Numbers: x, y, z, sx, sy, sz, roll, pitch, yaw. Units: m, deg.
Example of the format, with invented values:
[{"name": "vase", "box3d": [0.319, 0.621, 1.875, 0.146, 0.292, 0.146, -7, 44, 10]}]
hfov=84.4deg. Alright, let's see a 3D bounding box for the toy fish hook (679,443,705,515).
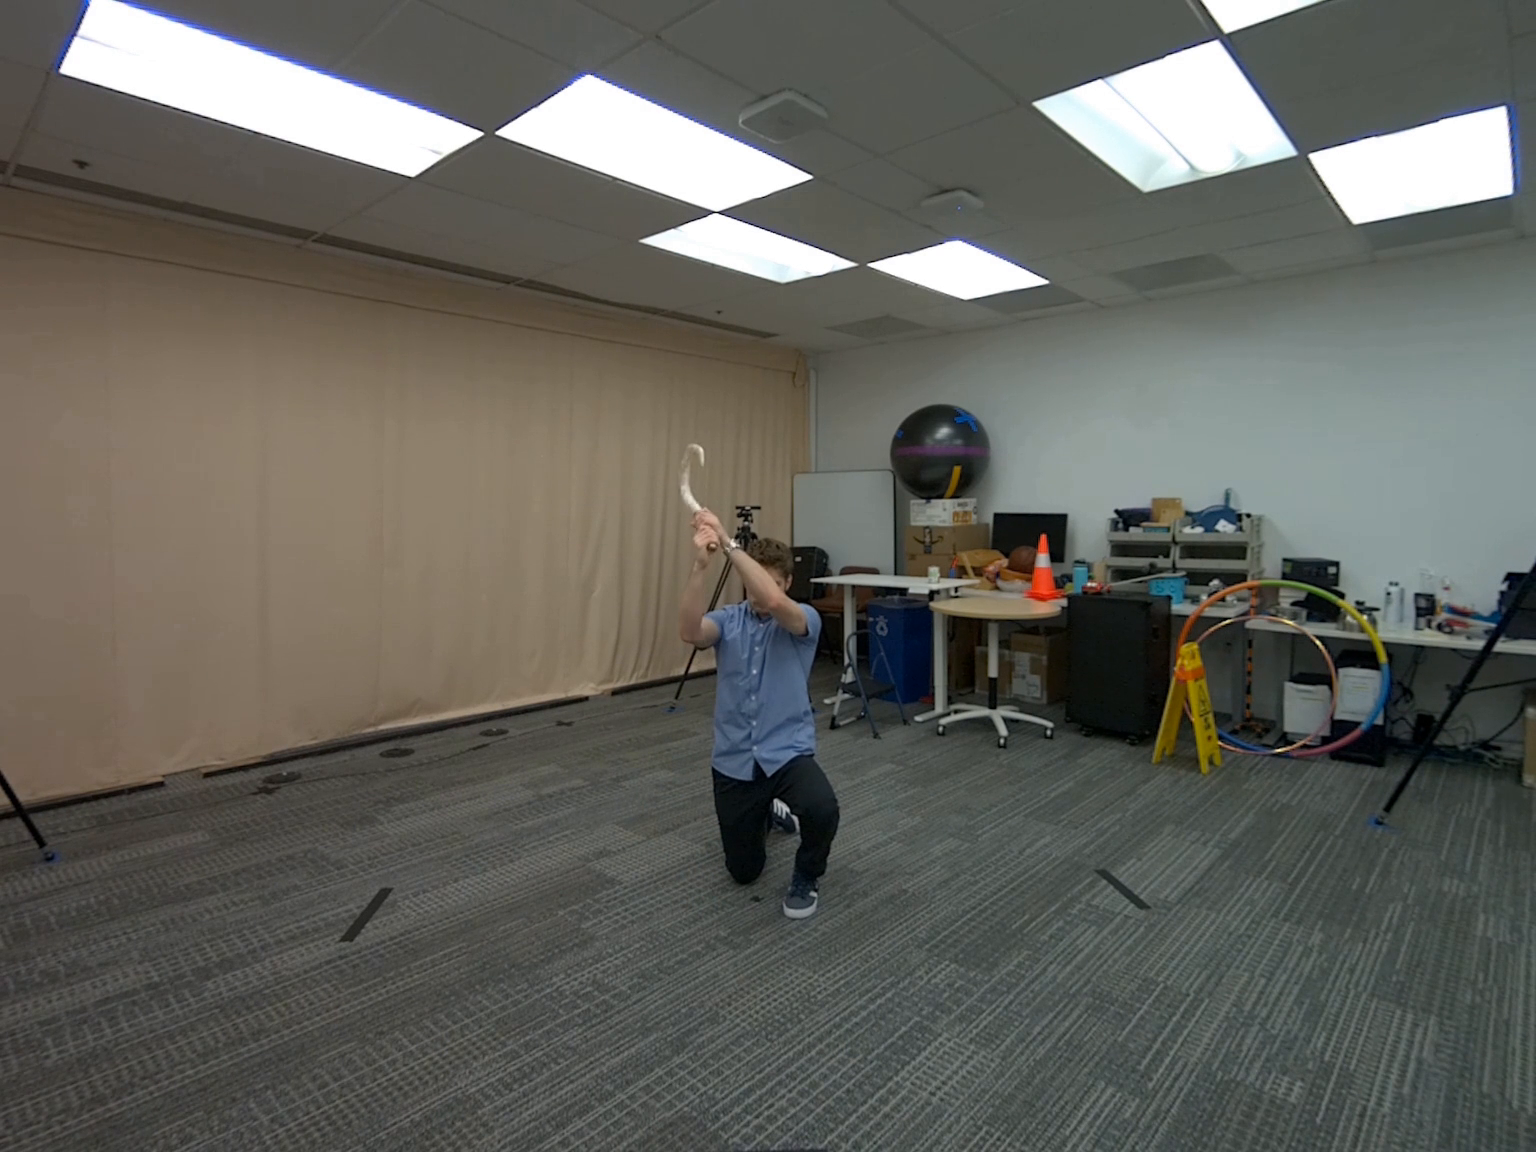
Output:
[{"name": "toy fish hook", "box3d": [-0.220, -0.263, 2.890, 0.047, 0.222, 0.522, 0, 37, -22]}]
